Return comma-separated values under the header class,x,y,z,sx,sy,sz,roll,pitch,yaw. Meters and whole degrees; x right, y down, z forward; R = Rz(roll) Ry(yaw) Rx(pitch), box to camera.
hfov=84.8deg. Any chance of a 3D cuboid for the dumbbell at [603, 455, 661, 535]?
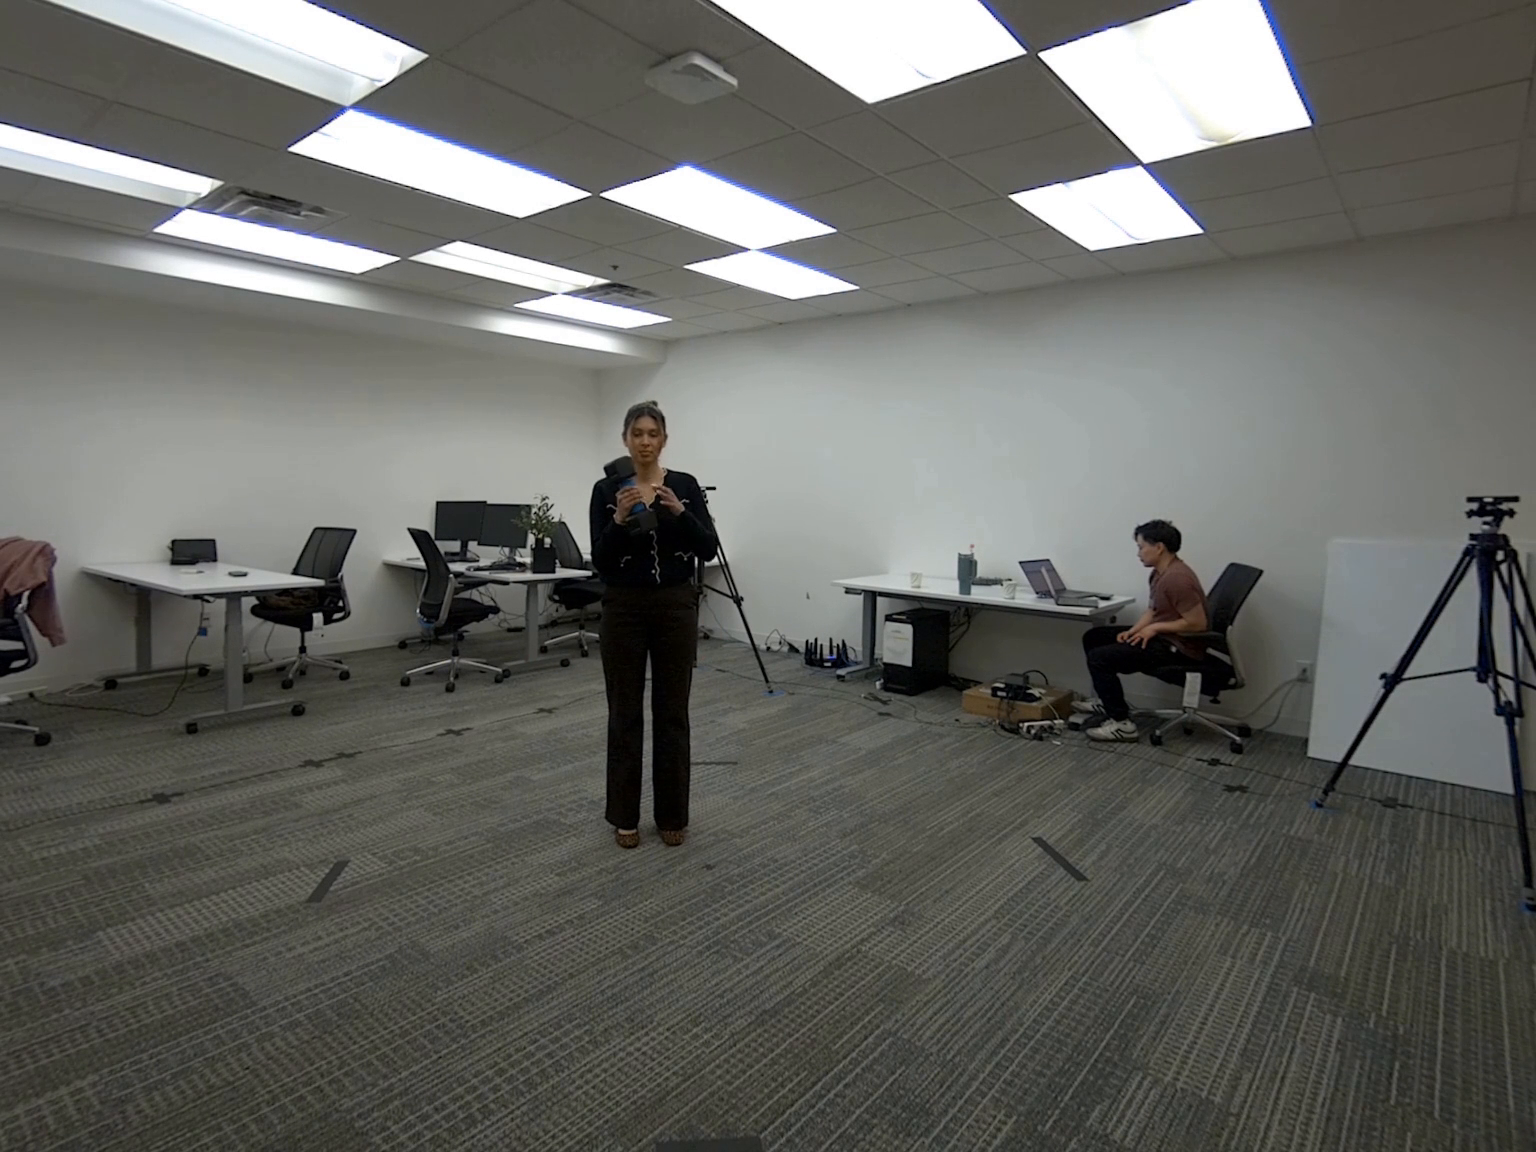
class,x,y,z,sx,sy,sz,roll,pitch,yaw
dumbbell,-0.520,-0.299,3.147,0.109,0.292,0.123,-23,3,7
